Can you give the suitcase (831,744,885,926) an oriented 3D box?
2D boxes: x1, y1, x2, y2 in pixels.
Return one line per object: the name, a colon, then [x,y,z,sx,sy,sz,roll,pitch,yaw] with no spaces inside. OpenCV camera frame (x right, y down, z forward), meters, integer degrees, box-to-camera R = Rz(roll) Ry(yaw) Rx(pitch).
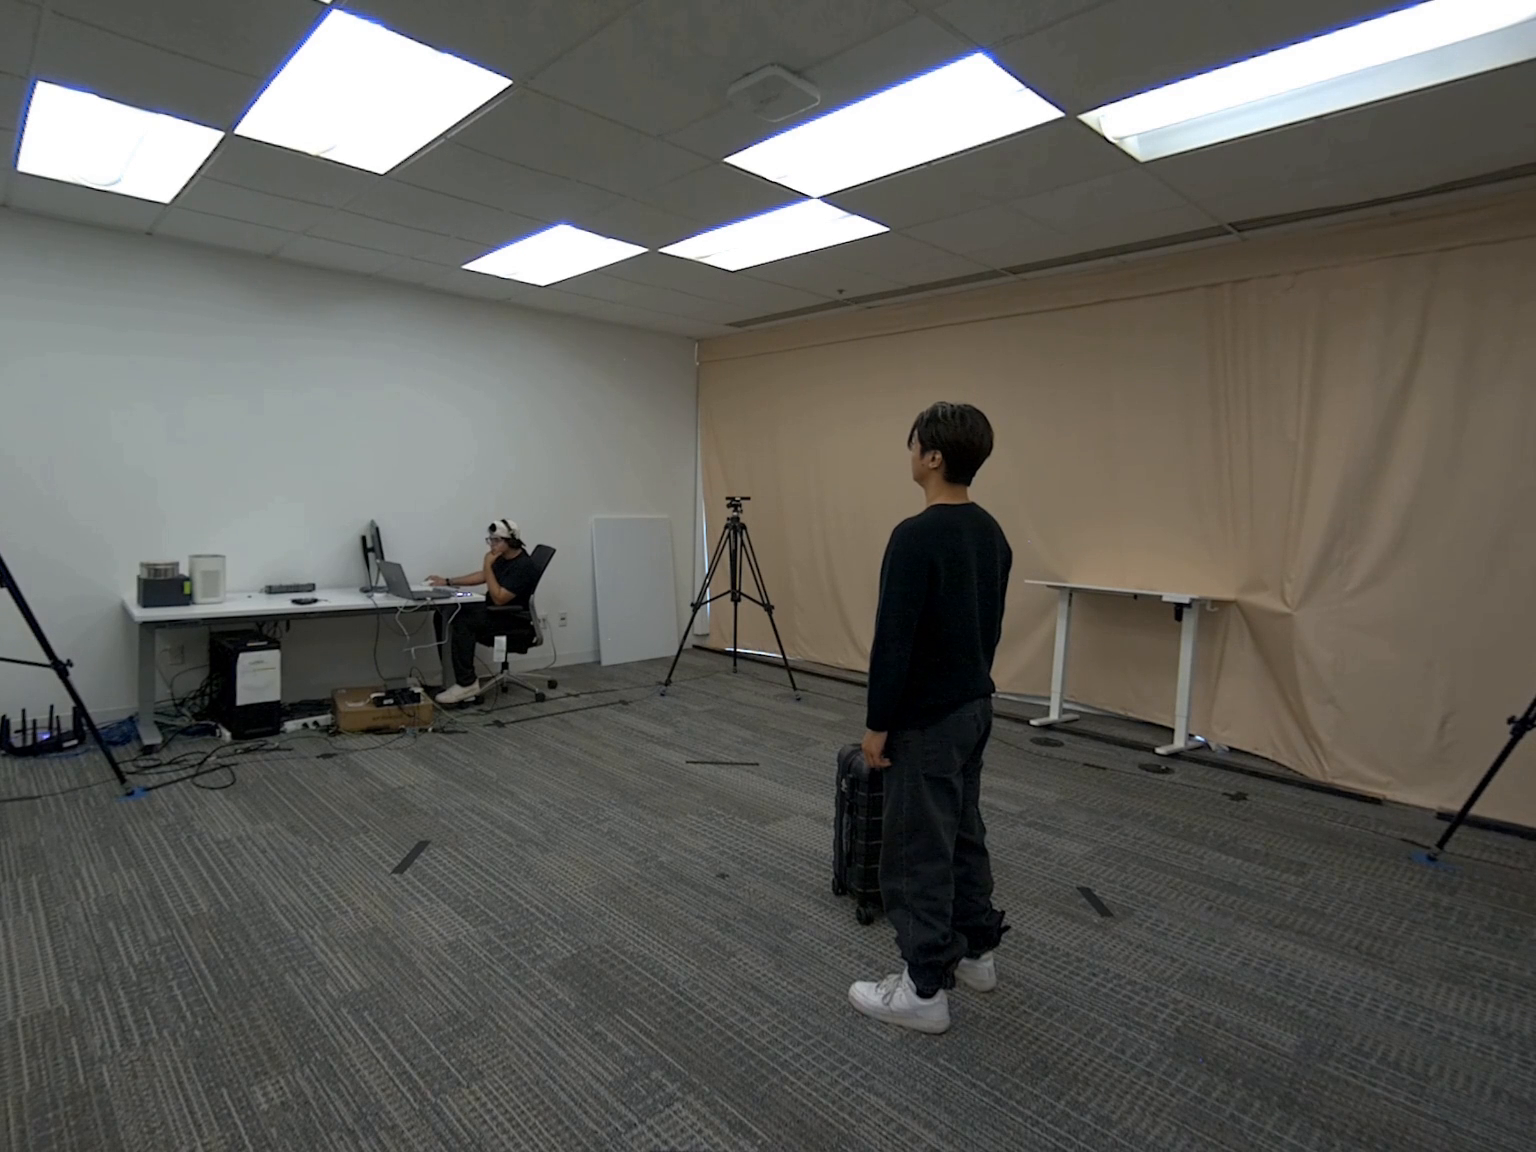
suitcase: [0.418,0.860,2.922,0.370,0.549,0.252,1,1,-17]
